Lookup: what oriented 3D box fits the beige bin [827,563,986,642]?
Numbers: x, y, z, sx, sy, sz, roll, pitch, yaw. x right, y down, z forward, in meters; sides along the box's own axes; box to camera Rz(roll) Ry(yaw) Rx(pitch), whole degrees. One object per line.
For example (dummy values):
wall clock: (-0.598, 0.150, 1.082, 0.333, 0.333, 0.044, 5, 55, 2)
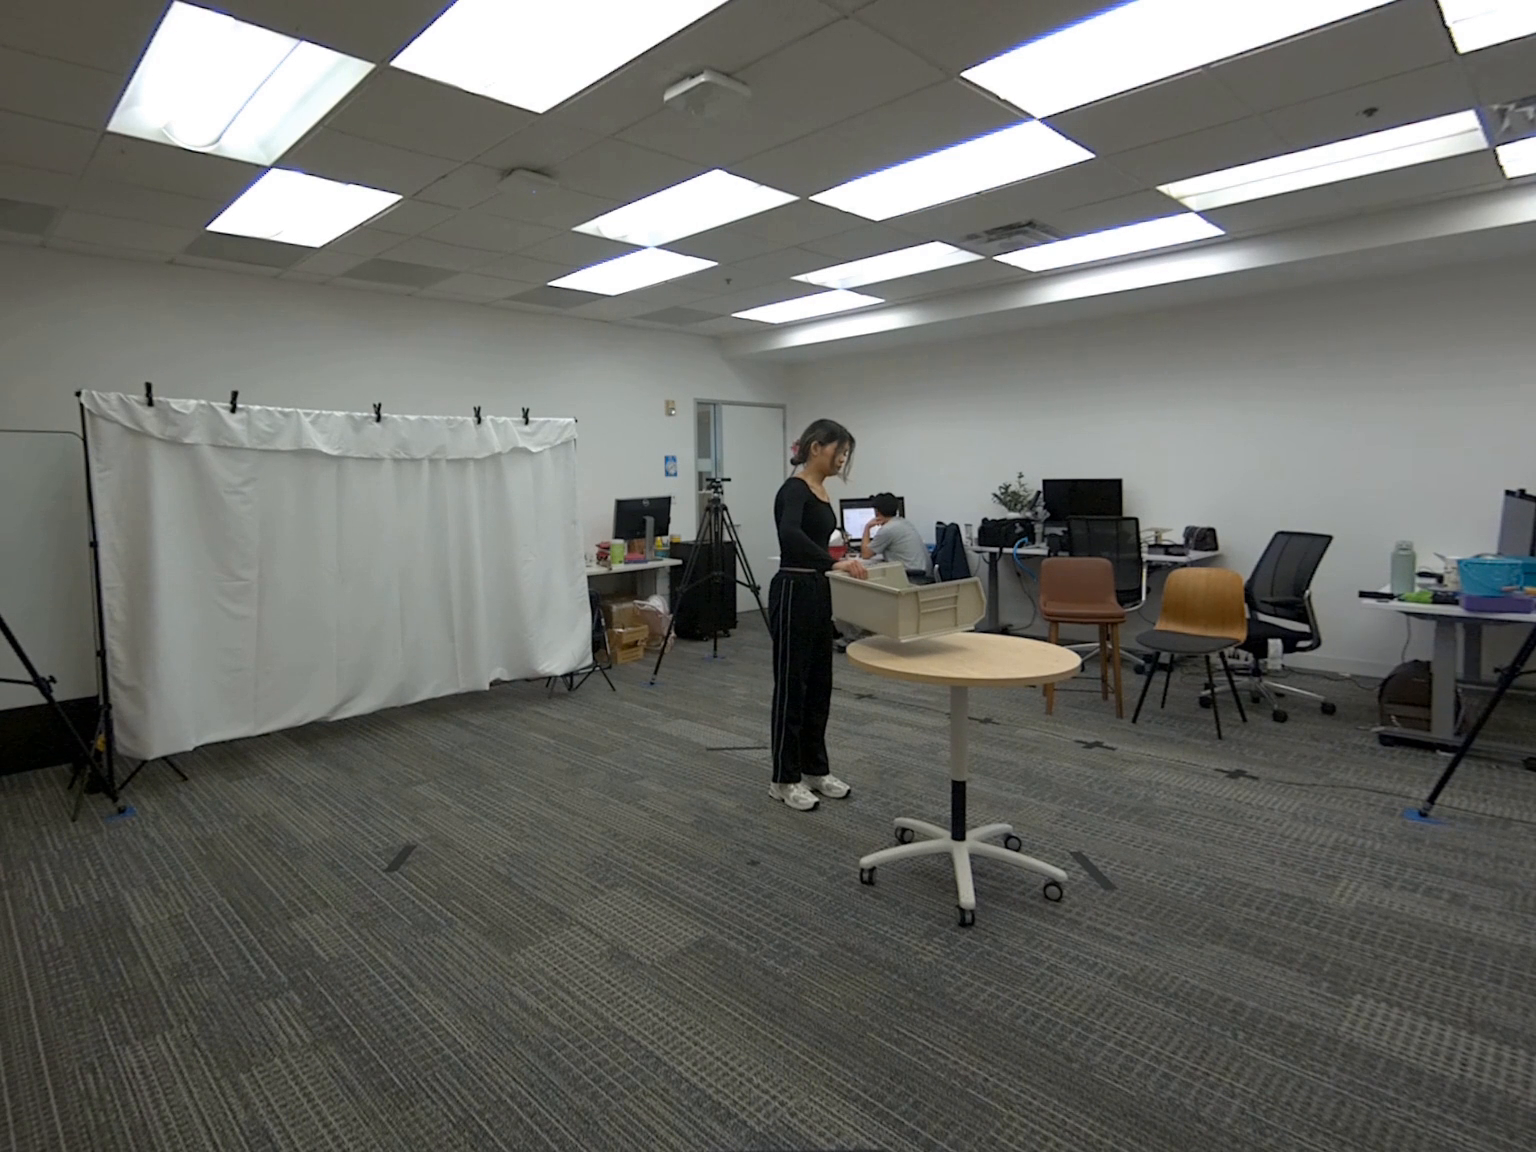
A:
beige bin: (0.483, 0.079, 3.031, 0.370, 0.187, 0.435, -10, 13, -28)
